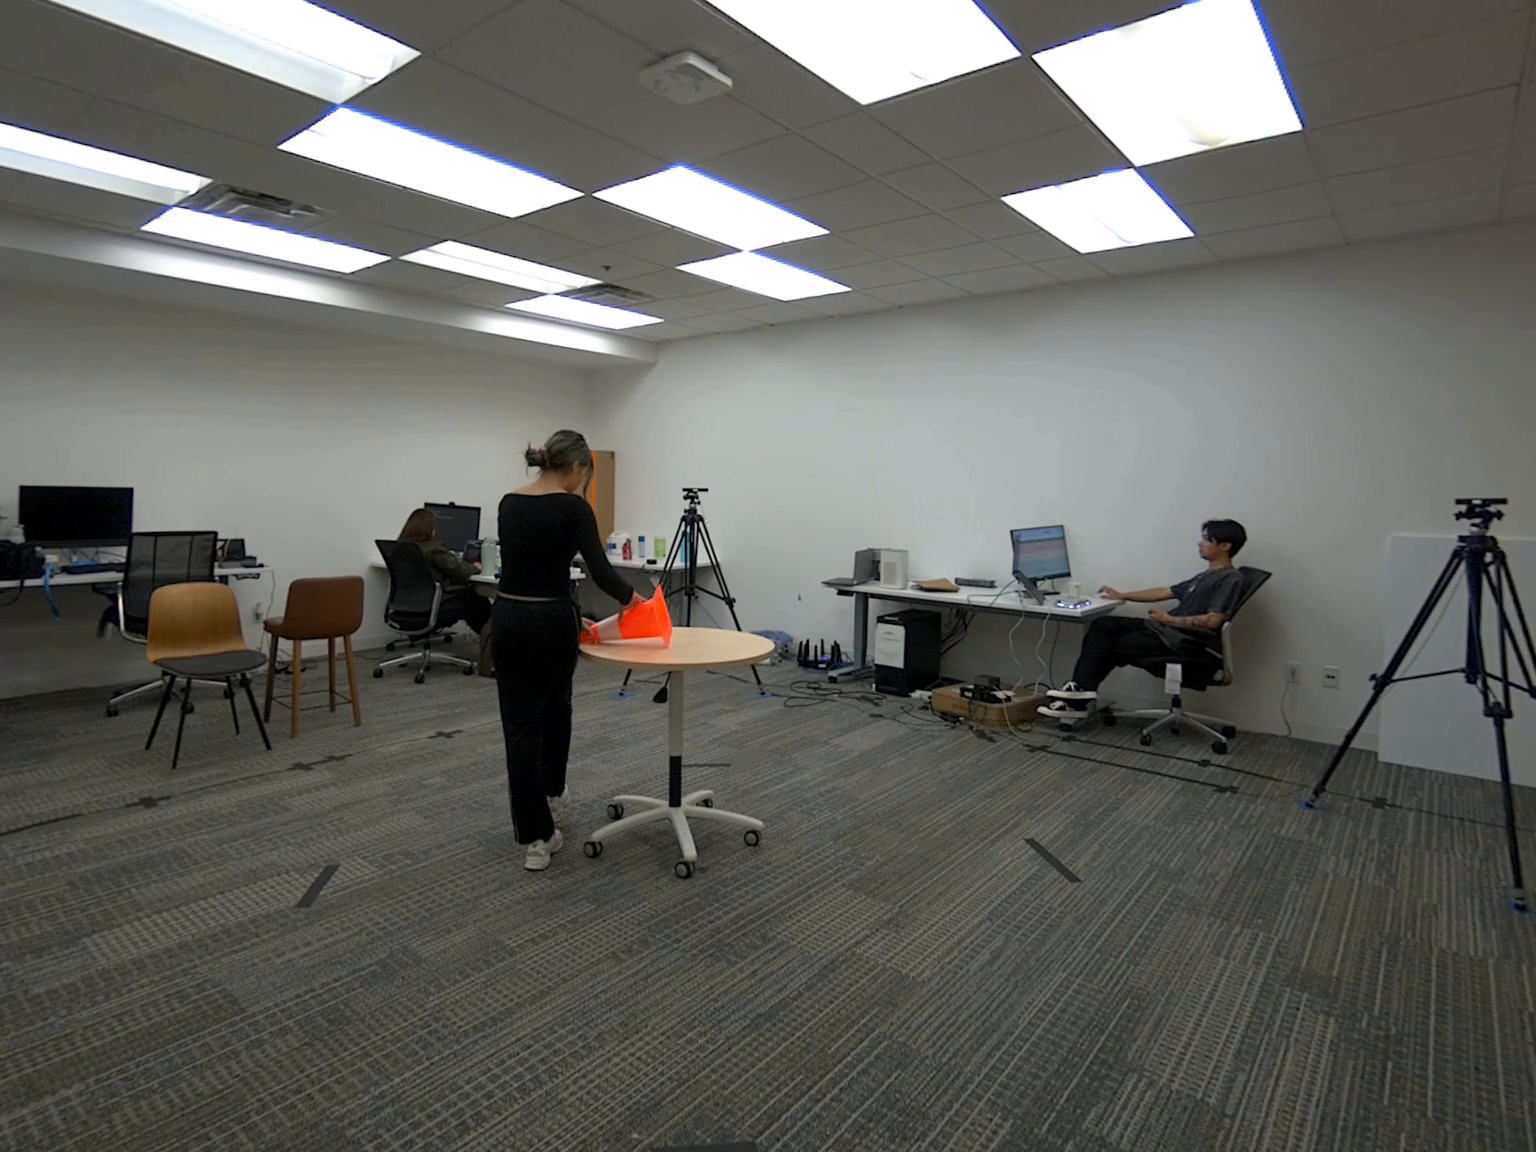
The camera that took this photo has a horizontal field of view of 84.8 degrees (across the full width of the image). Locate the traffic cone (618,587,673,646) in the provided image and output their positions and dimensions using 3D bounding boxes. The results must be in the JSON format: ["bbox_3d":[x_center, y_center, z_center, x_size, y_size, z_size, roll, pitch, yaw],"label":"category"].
[{"bbox_3d":[-0.600,0.205,3.289,0.385,0.200,0.208,-15,23,5],"label":"traffic cone"}]
